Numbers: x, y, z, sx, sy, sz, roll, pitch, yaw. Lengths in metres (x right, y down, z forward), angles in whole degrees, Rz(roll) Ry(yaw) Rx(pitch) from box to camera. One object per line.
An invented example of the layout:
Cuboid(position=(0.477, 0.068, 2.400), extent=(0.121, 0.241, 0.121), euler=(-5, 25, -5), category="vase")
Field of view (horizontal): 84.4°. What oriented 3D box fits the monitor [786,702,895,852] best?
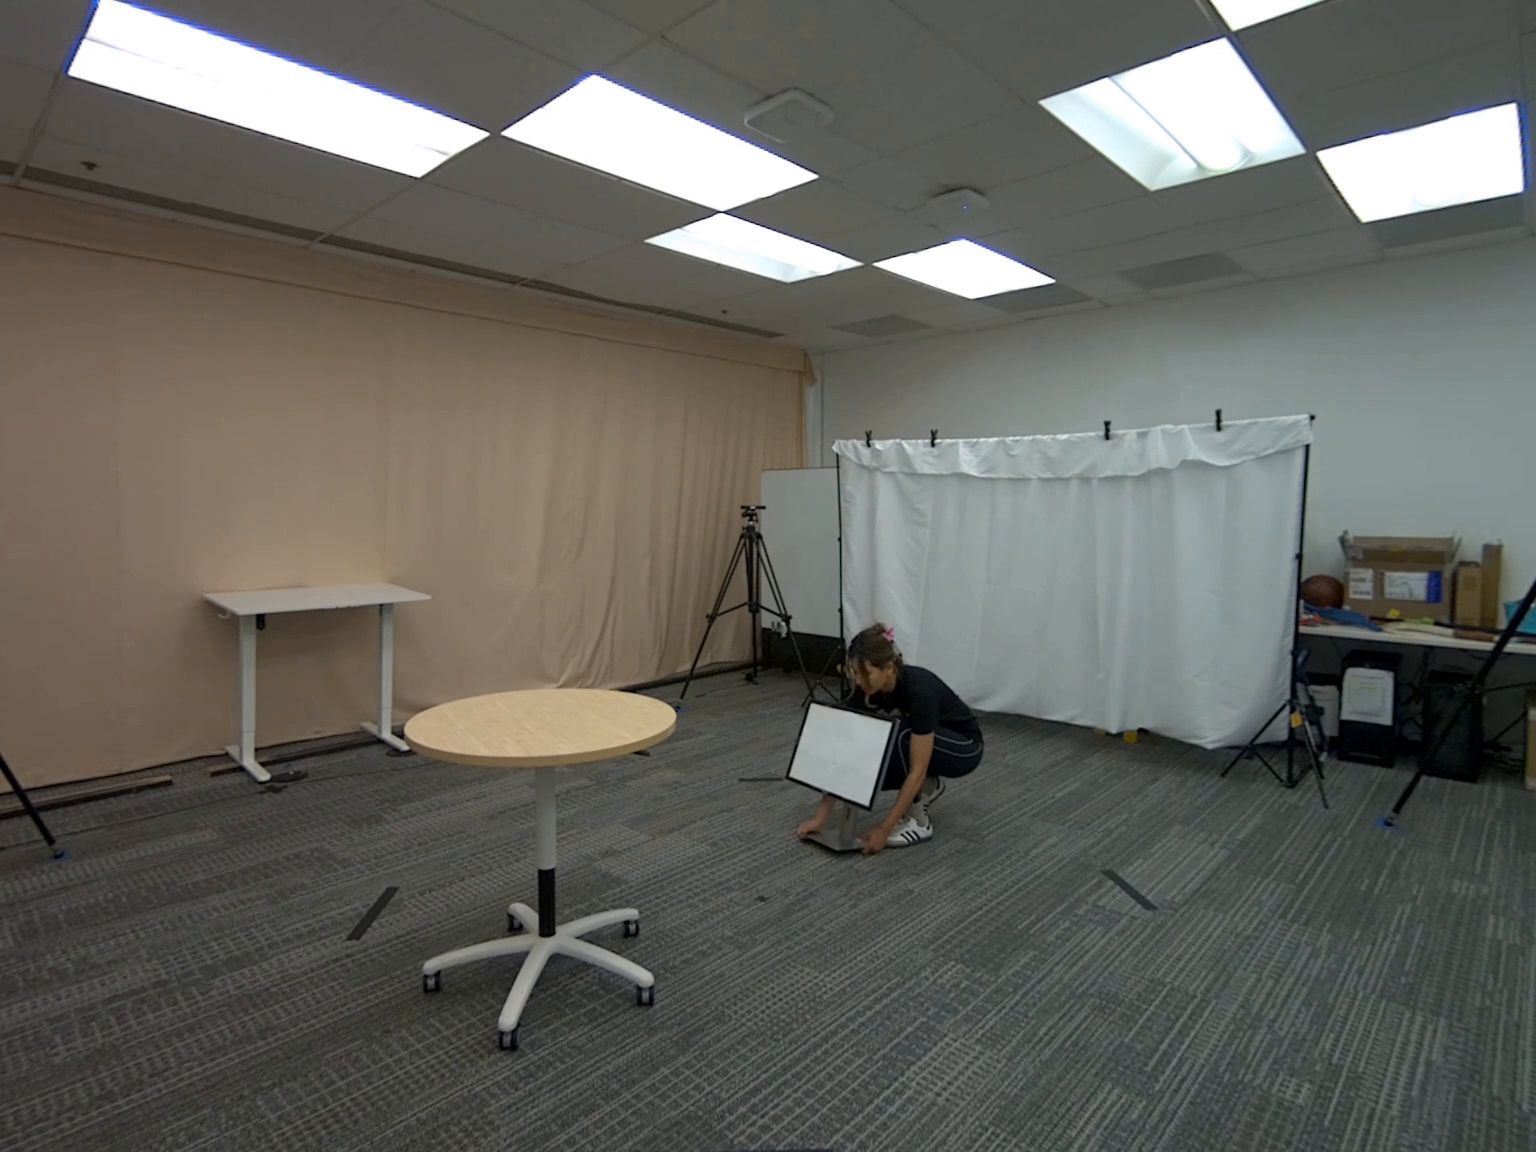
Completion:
Cuboid(position=(0.311, 0.816, 3.462), extent=(0.181, 0.523, 0.555), euler=(9, -4, -34), category="monitor")
